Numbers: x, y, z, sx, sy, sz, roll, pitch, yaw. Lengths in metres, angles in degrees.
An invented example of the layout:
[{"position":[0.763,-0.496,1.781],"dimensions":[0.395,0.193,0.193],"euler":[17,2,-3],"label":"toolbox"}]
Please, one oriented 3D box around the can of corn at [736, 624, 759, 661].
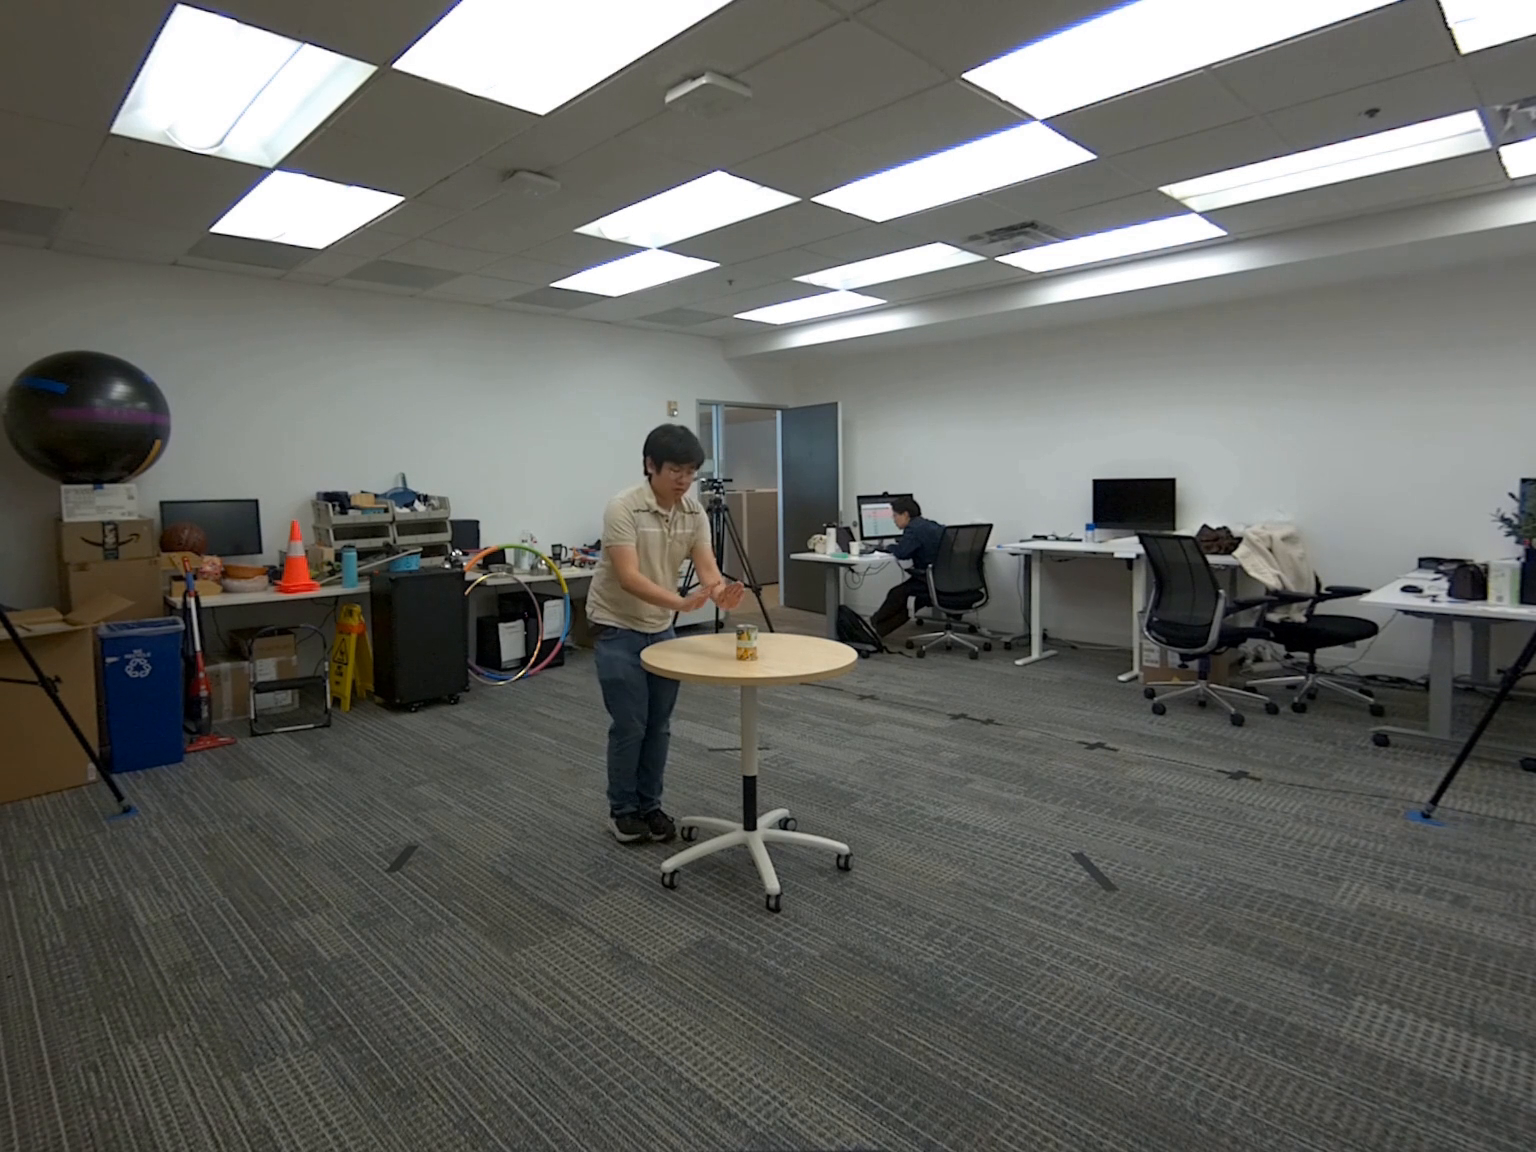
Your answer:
[{"position":[-0.072,0.228,2.915],"dimensions":[0.074,0.110,0.074],"euler":[-1,5,-2],"label":"can of corn"}]
